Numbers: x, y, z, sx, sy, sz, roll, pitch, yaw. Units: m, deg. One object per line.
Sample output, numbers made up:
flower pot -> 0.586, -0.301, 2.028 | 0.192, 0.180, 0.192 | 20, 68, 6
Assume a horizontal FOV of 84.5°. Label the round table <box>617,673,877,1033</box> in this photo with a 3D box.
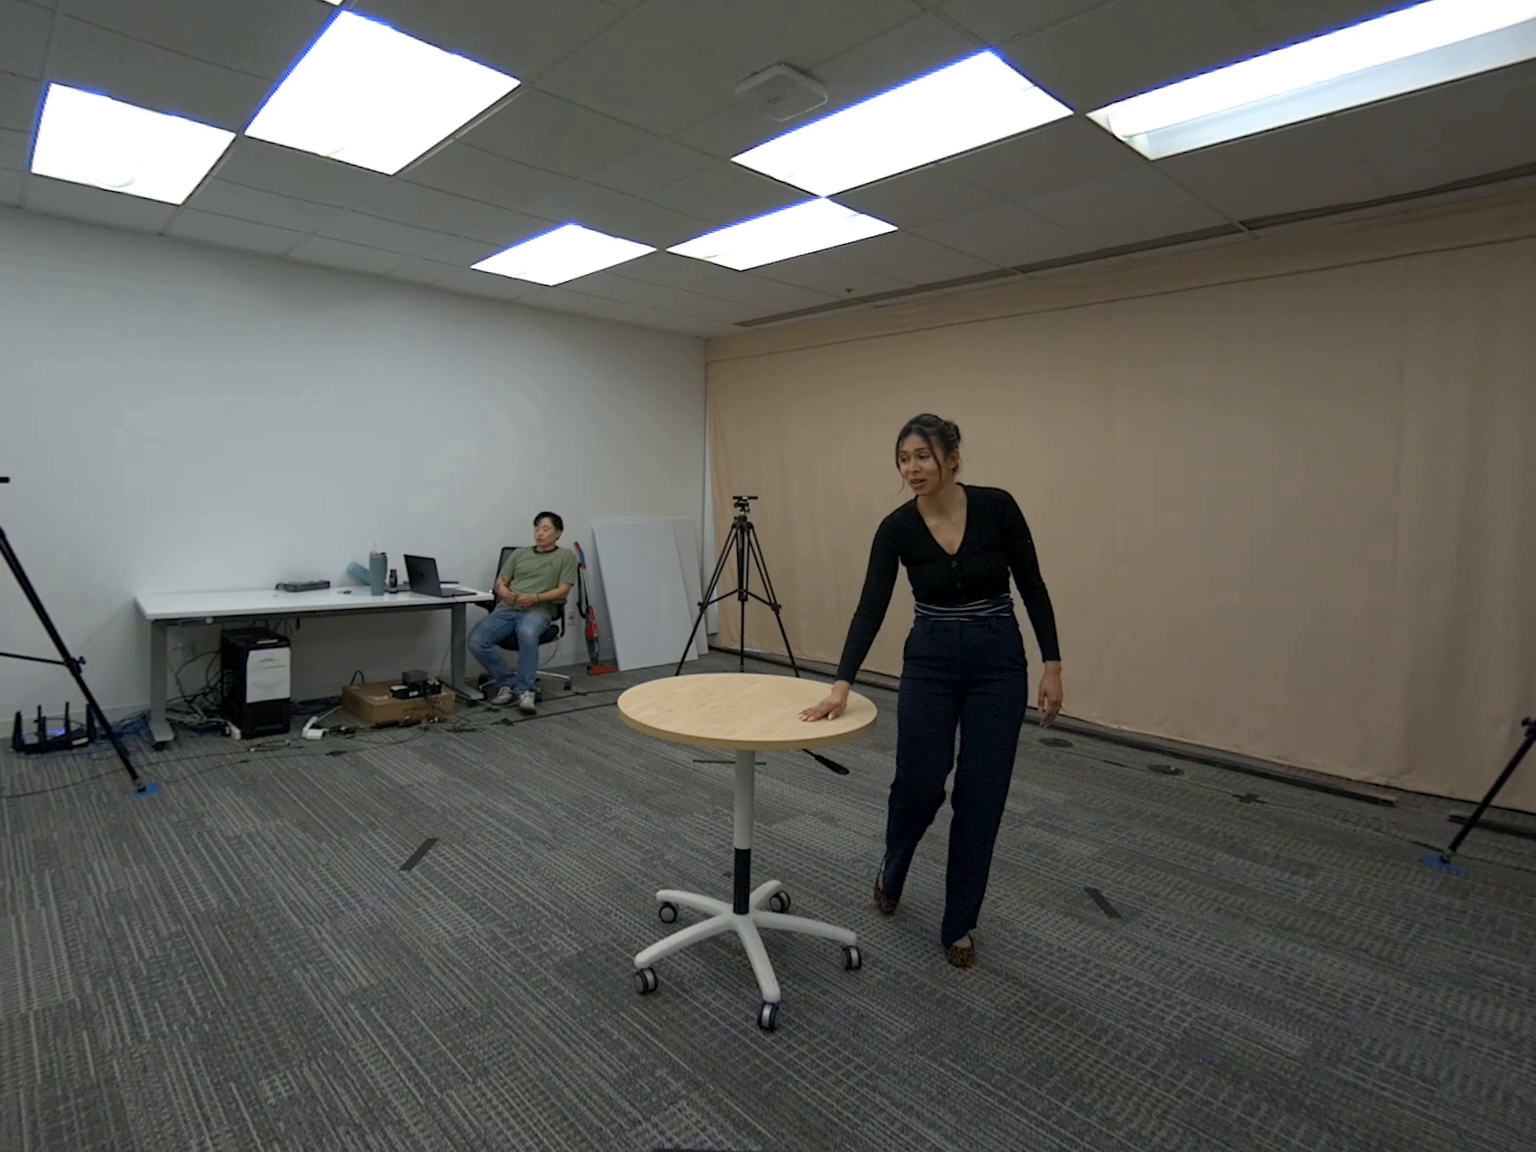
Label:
round table -> -0.081, 0.768, 2.528 | 0.763, 0.791, 0.767 | 2, 5, -2
